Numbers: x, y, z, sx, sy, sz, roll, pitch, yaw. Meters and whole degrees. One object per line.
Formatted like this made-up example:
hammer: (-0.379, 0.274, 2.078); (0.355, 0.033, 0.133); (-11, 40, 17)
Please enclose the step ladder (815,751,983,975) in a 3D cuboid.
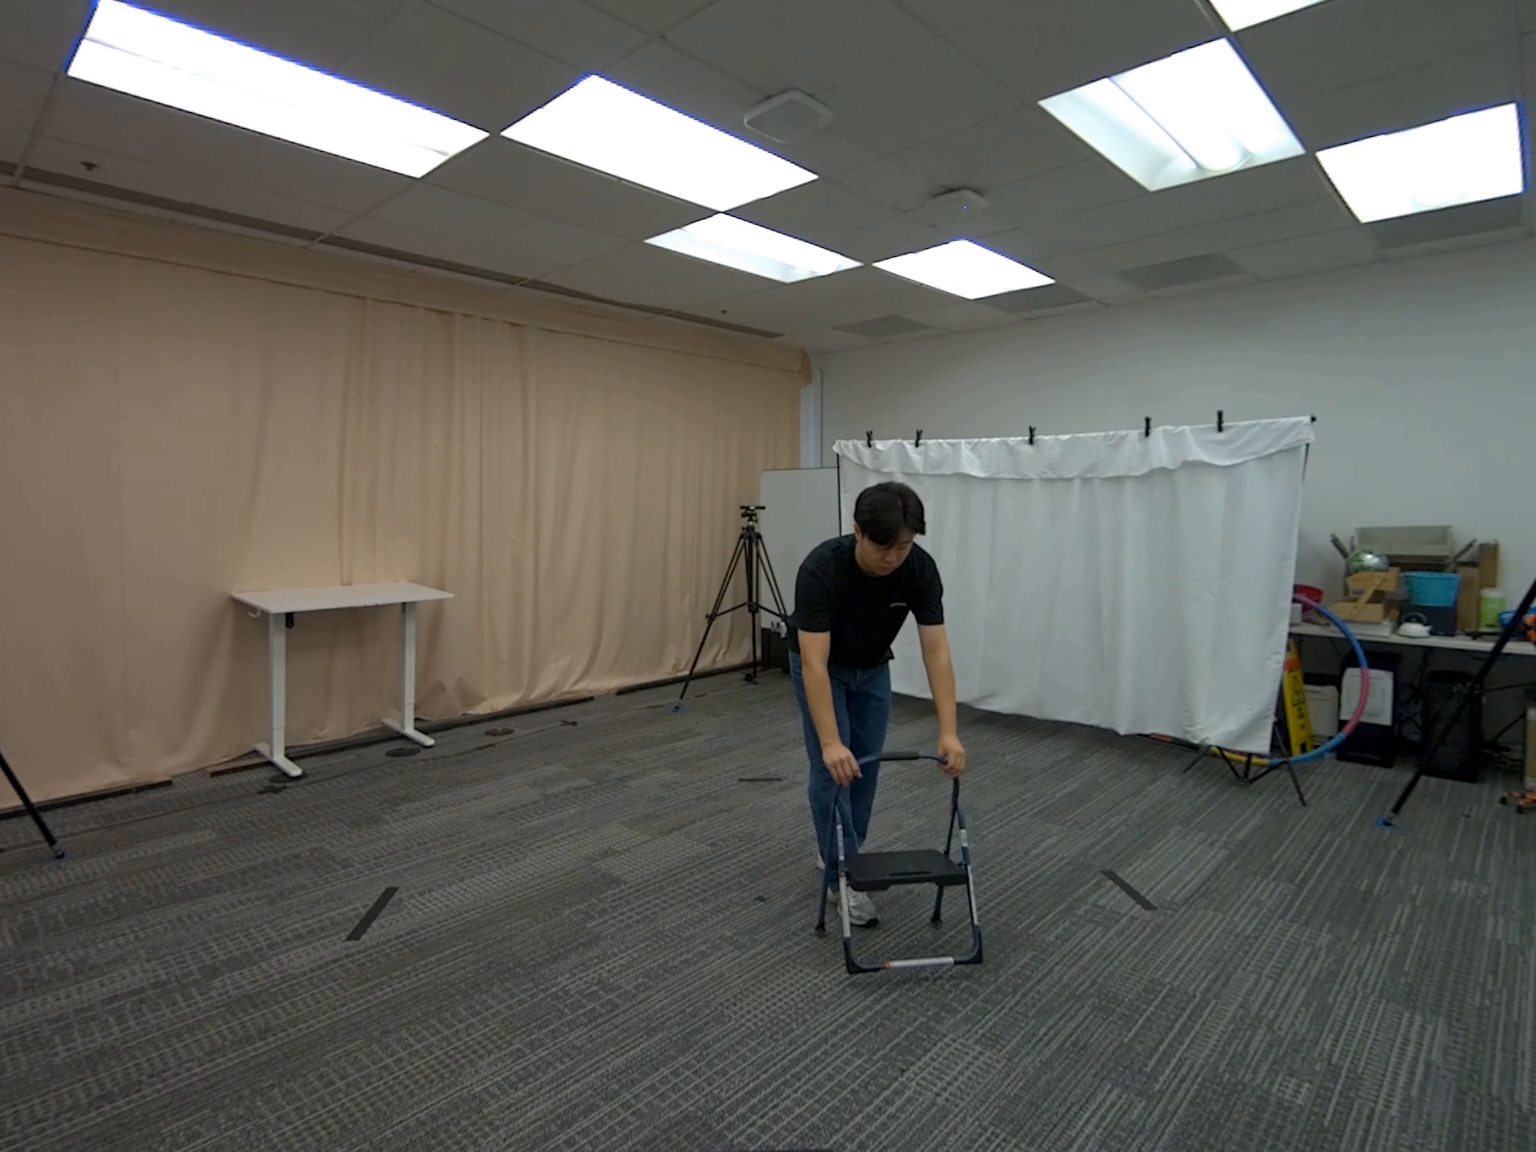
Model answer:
step ladder: (0.395, 0.842, 2.626); (0.426, 0.607, 0.353); (0, -2, -11)
